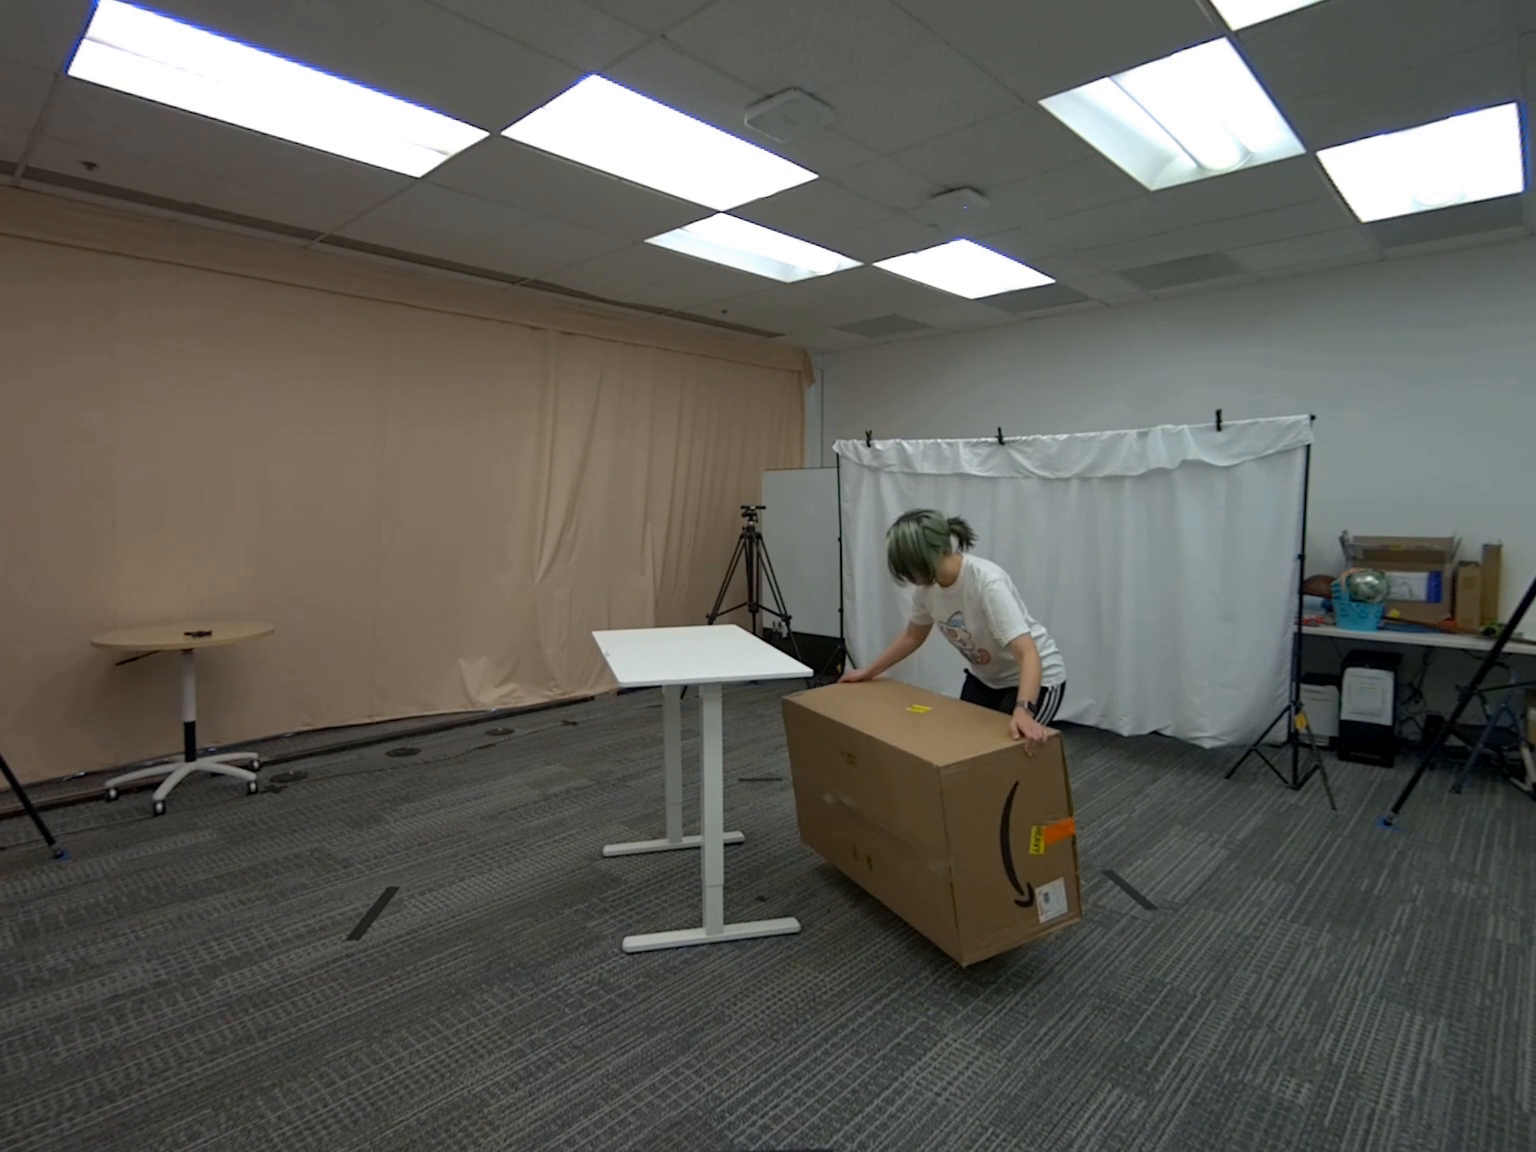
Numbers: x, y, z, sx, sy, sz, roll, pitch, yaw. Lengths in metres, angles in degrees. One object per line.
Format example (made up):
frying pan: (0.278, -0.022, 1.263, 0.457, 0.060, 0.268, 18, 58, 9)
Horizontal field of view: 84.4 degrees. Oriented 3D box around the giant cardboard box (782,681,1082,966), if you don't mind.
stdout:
giant cardboard box: (0.492, 0.736, 2.832, 0.438, 0.582, 1.051, -9, 6, -23)
